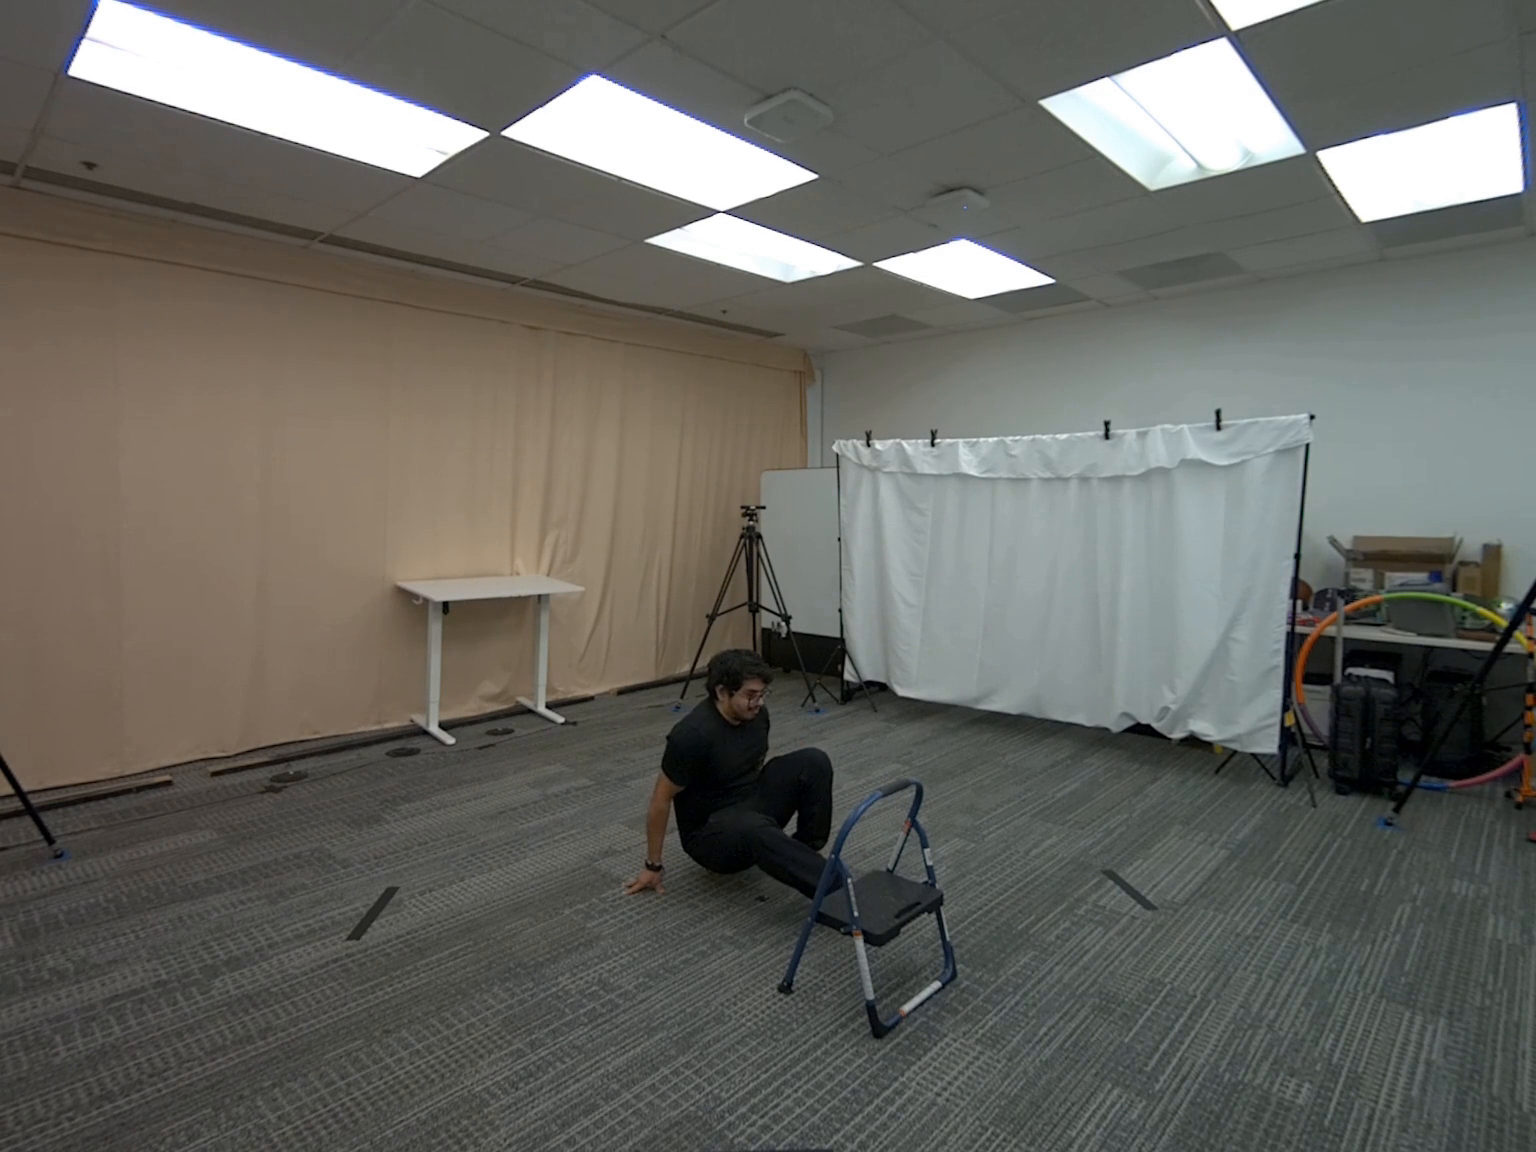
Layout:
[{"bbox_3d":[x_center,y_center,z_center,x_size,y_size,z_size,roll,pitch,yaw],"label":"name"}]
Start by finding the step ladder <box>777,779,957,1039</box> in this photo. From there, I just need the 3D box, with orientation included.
[{"bbox_3d":[0.300,0.886,2.435,0.361,0.605,0.417,3,5,42],"label":"step ladder"}]
